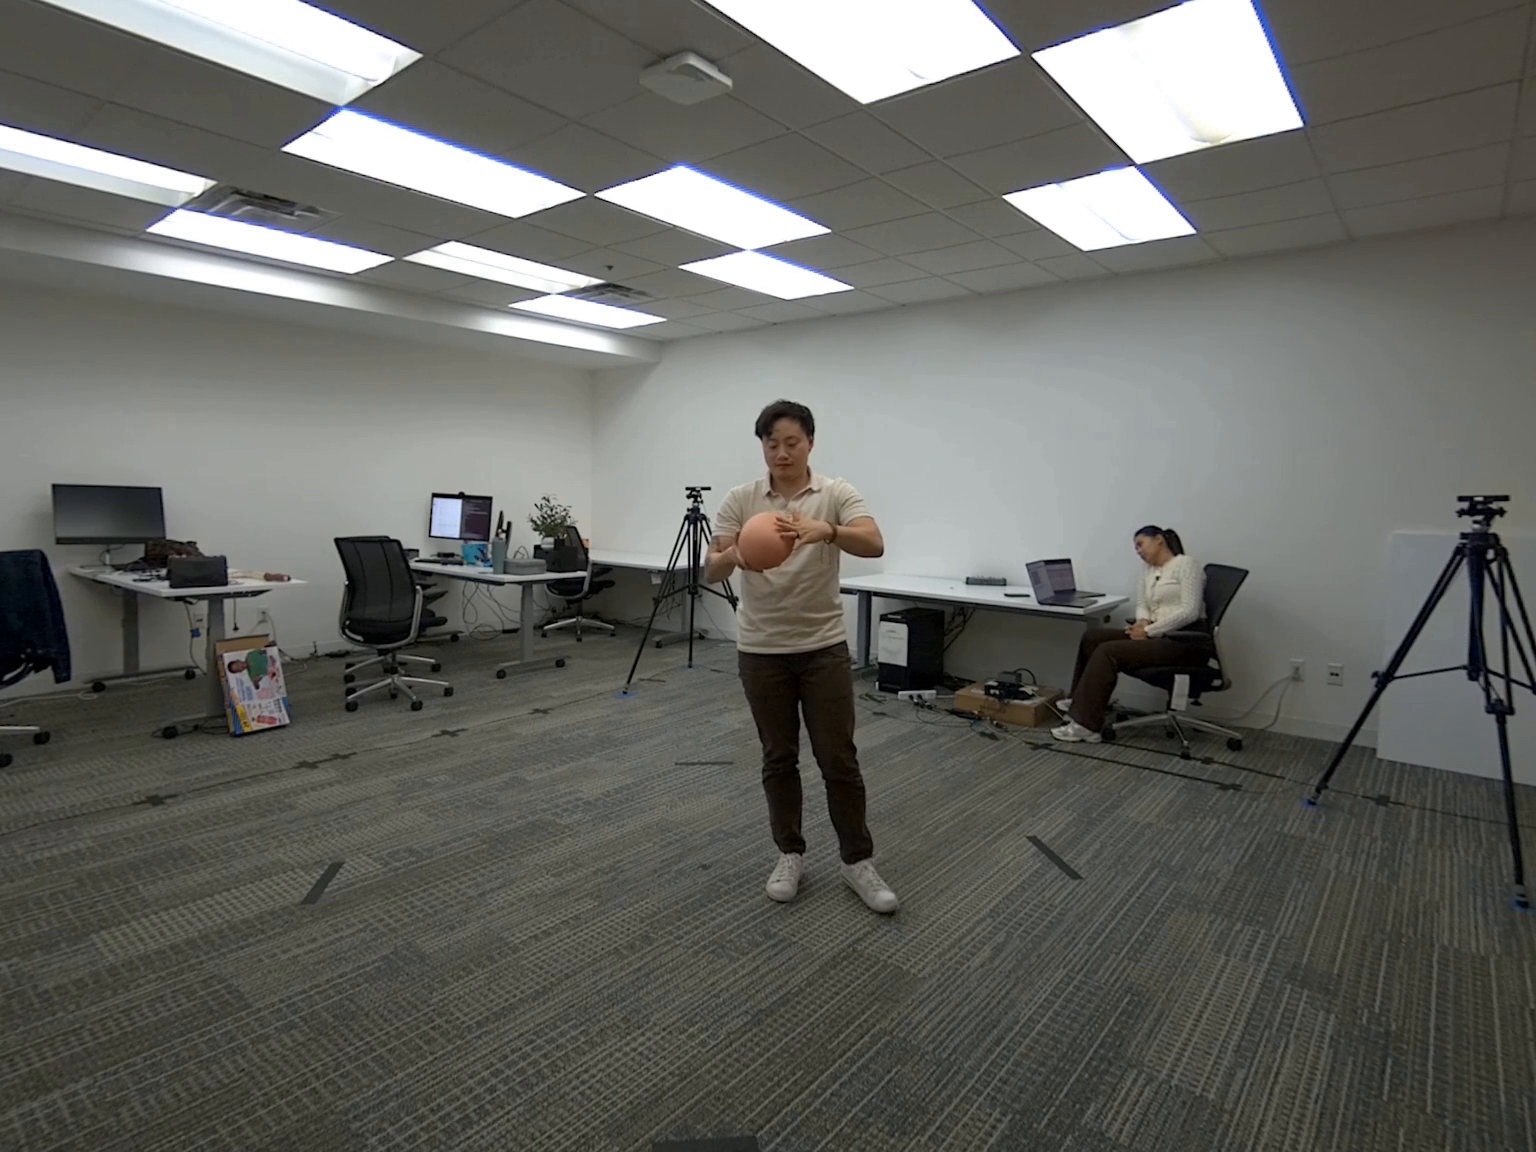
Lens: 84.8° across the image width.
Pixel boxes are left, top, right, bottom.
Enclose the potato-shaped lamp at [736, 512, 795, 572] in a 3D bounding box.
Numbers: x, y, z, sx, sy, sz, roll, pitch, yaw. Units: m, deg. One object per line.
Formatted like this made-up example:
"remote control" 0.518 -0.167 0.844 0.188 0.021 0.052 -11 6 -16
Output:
"potato-shaped lamp" -0.007 -0.107 2.592 0.170 0.163 0.201 26 21 -7
